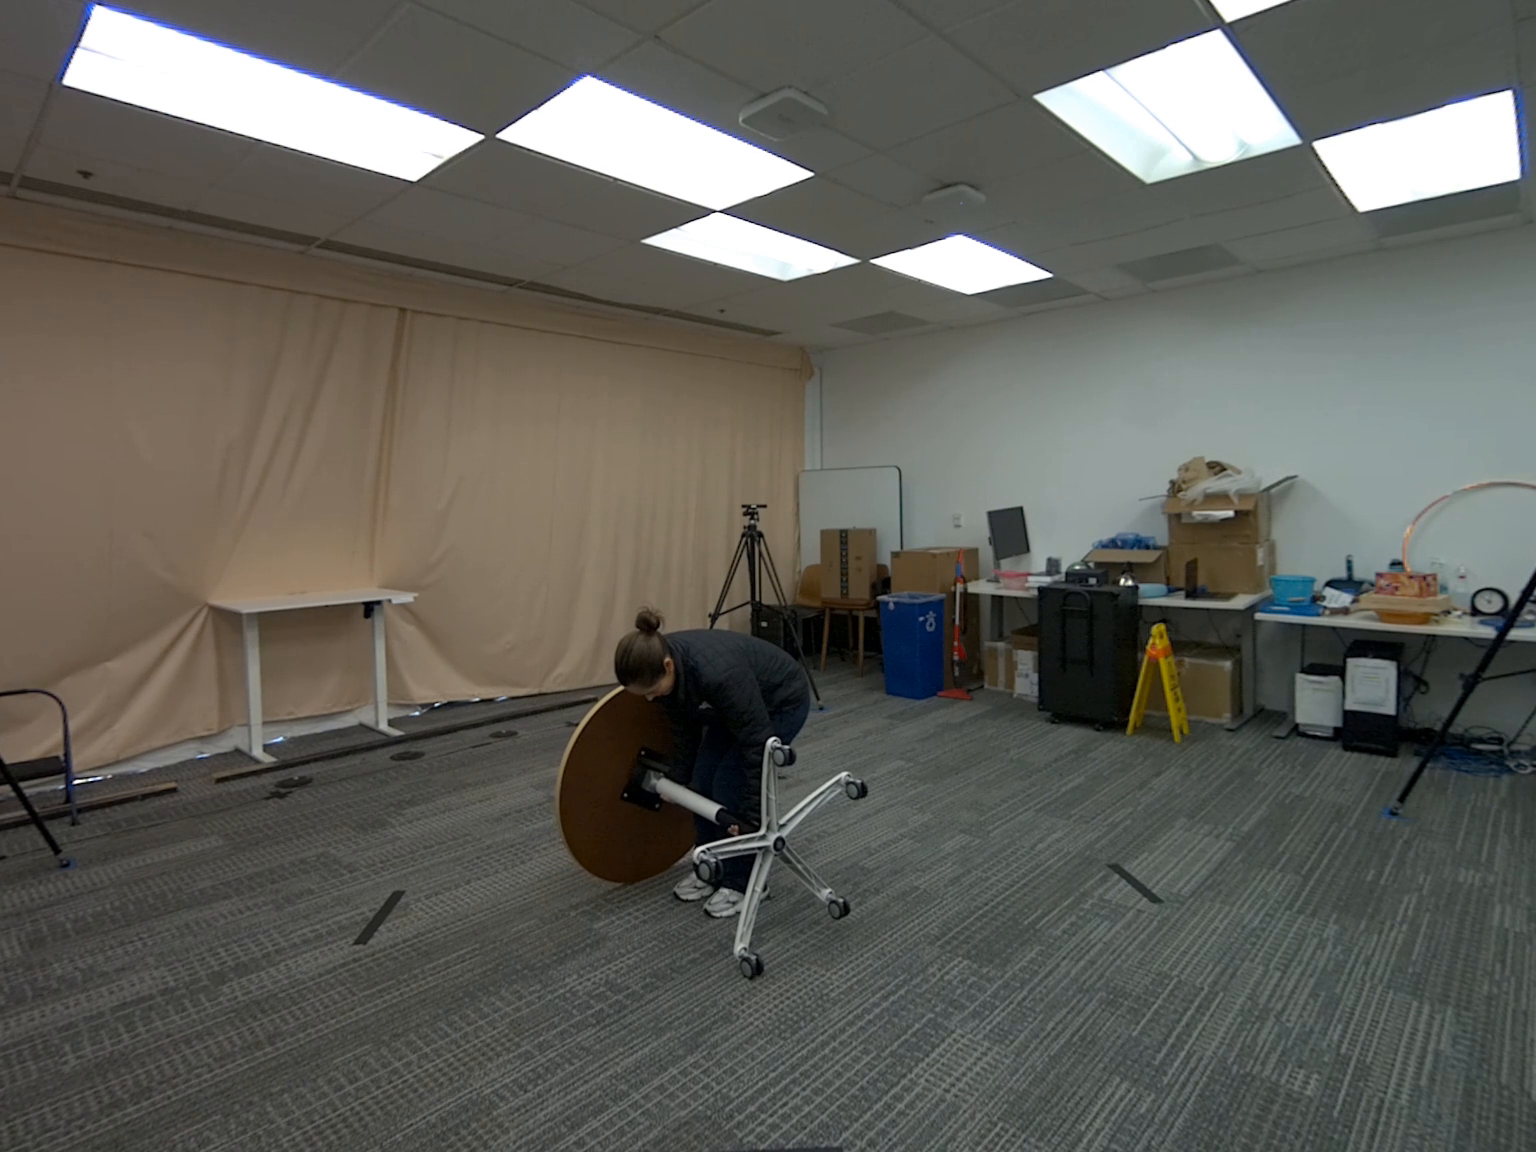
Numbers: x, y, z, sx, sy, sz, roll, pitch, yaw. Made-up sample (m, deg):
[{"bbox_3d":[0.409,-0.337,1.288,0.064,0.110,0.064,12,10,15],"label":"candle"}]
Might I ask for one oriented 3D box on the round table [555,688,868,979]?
[{"bbox_3d":[-0.159,0.802,2.853,0.761,0.782,0.814,-4,9,-43],"label":"round table"}]
